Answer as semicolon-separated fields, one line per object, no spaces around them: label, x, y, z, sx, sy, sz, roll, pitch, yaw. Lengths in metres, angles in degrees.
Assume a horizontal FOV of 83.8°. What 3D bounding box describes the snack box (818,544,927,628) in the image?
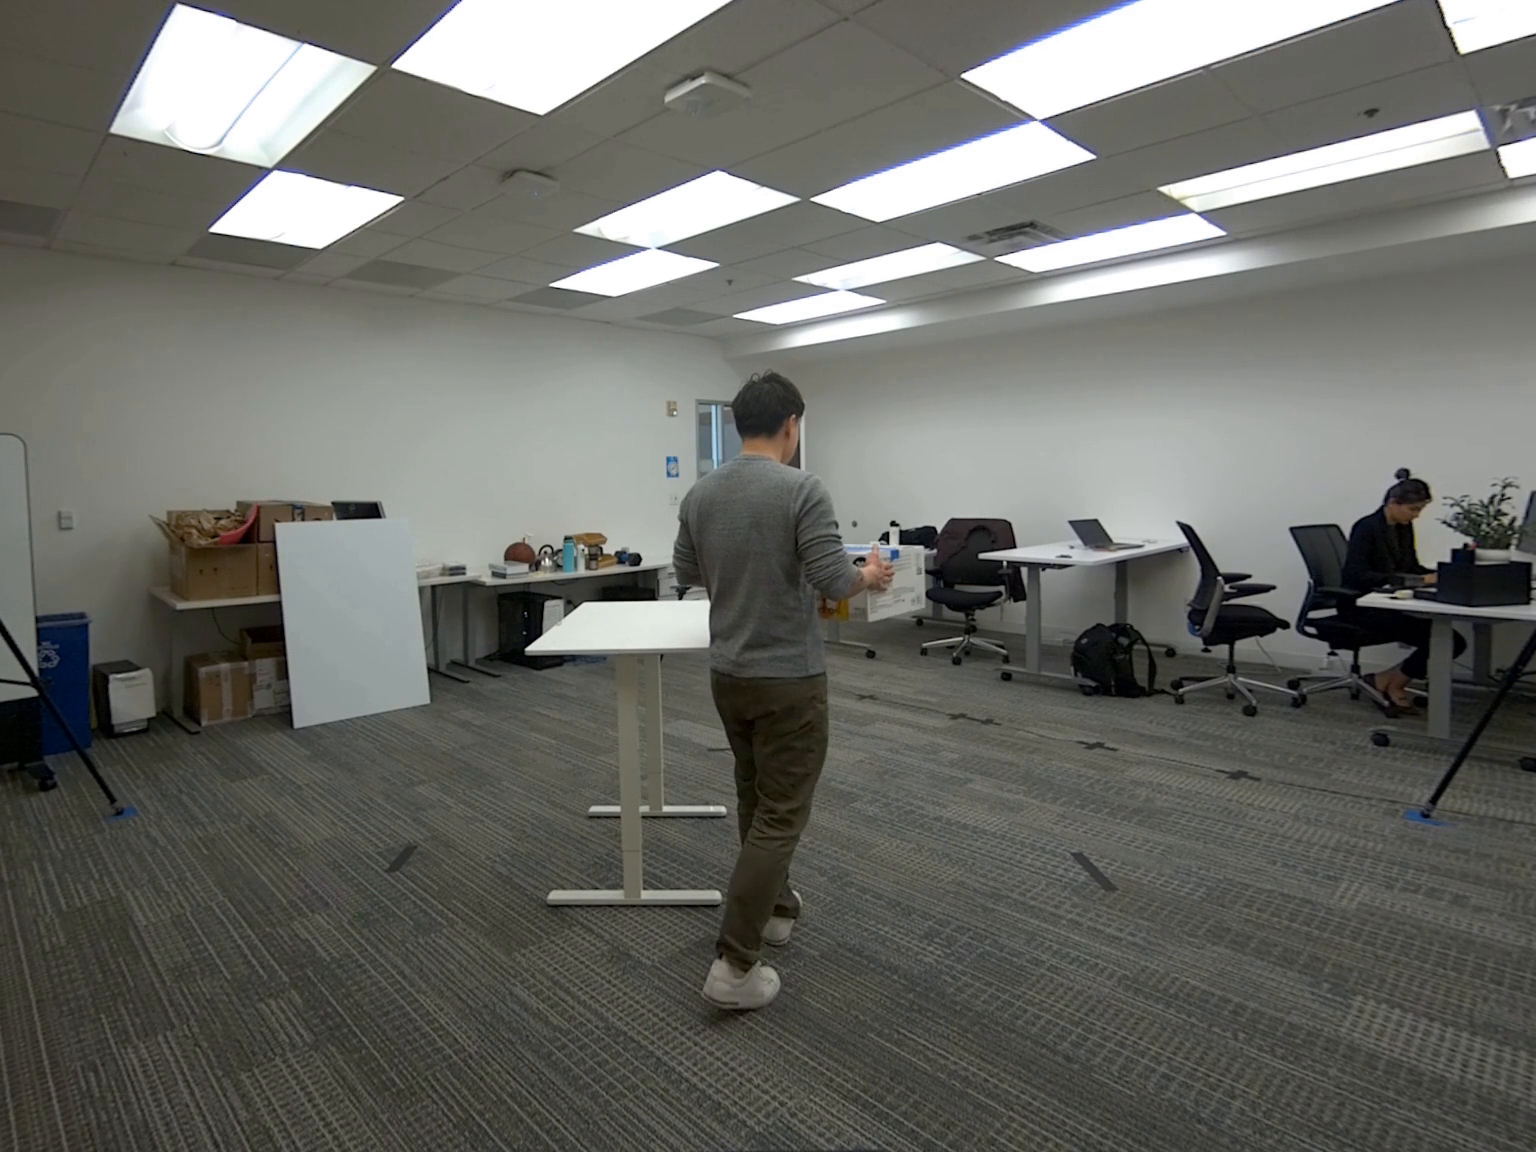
snack box;0.232;0.012;2.715;0.417;0.205;0.332;3;7;40
